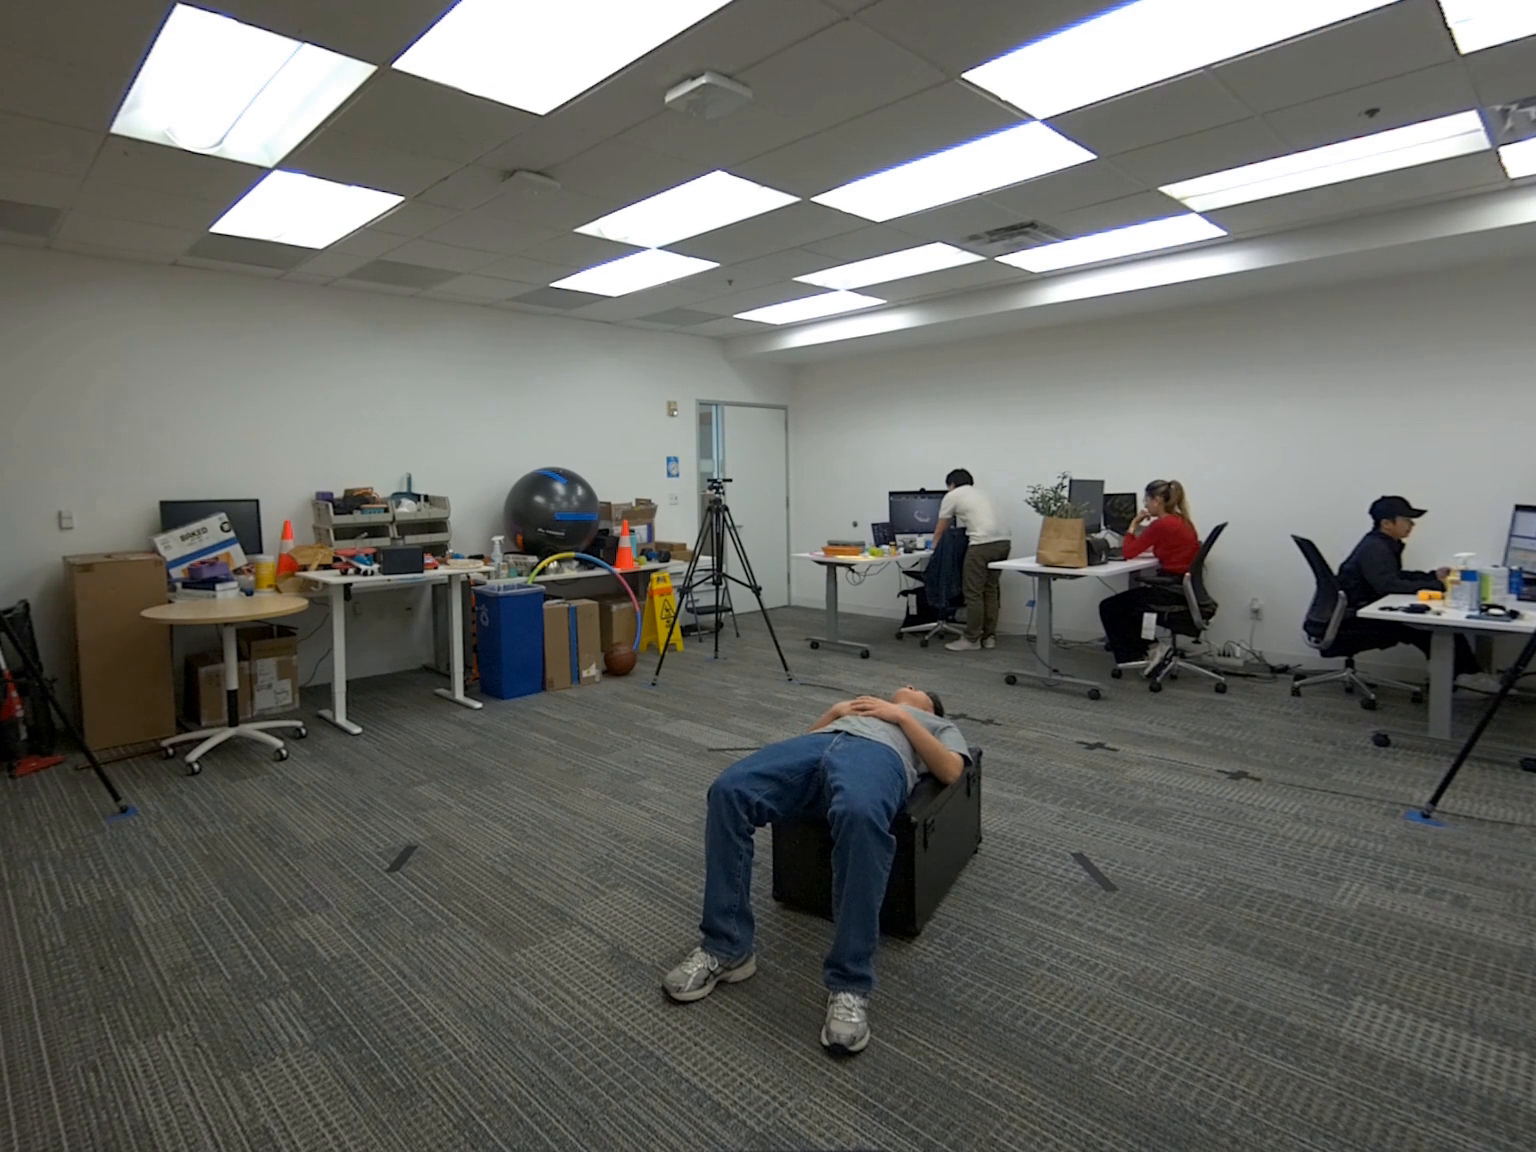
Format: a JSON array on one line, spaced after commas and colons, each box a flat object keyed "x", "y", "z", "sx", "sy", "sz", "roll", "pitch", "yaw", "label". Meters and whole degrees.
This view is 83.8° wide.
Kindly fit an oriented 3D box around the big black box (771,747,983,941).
[{"x": 0.426, "y": 0.867, "z": 3.011, "sx": 0.534, "sy": 0.395, "sz": 0.843, "roll": 1, "pitch": 6, "yaw": 29, "label": "big black box"}]
